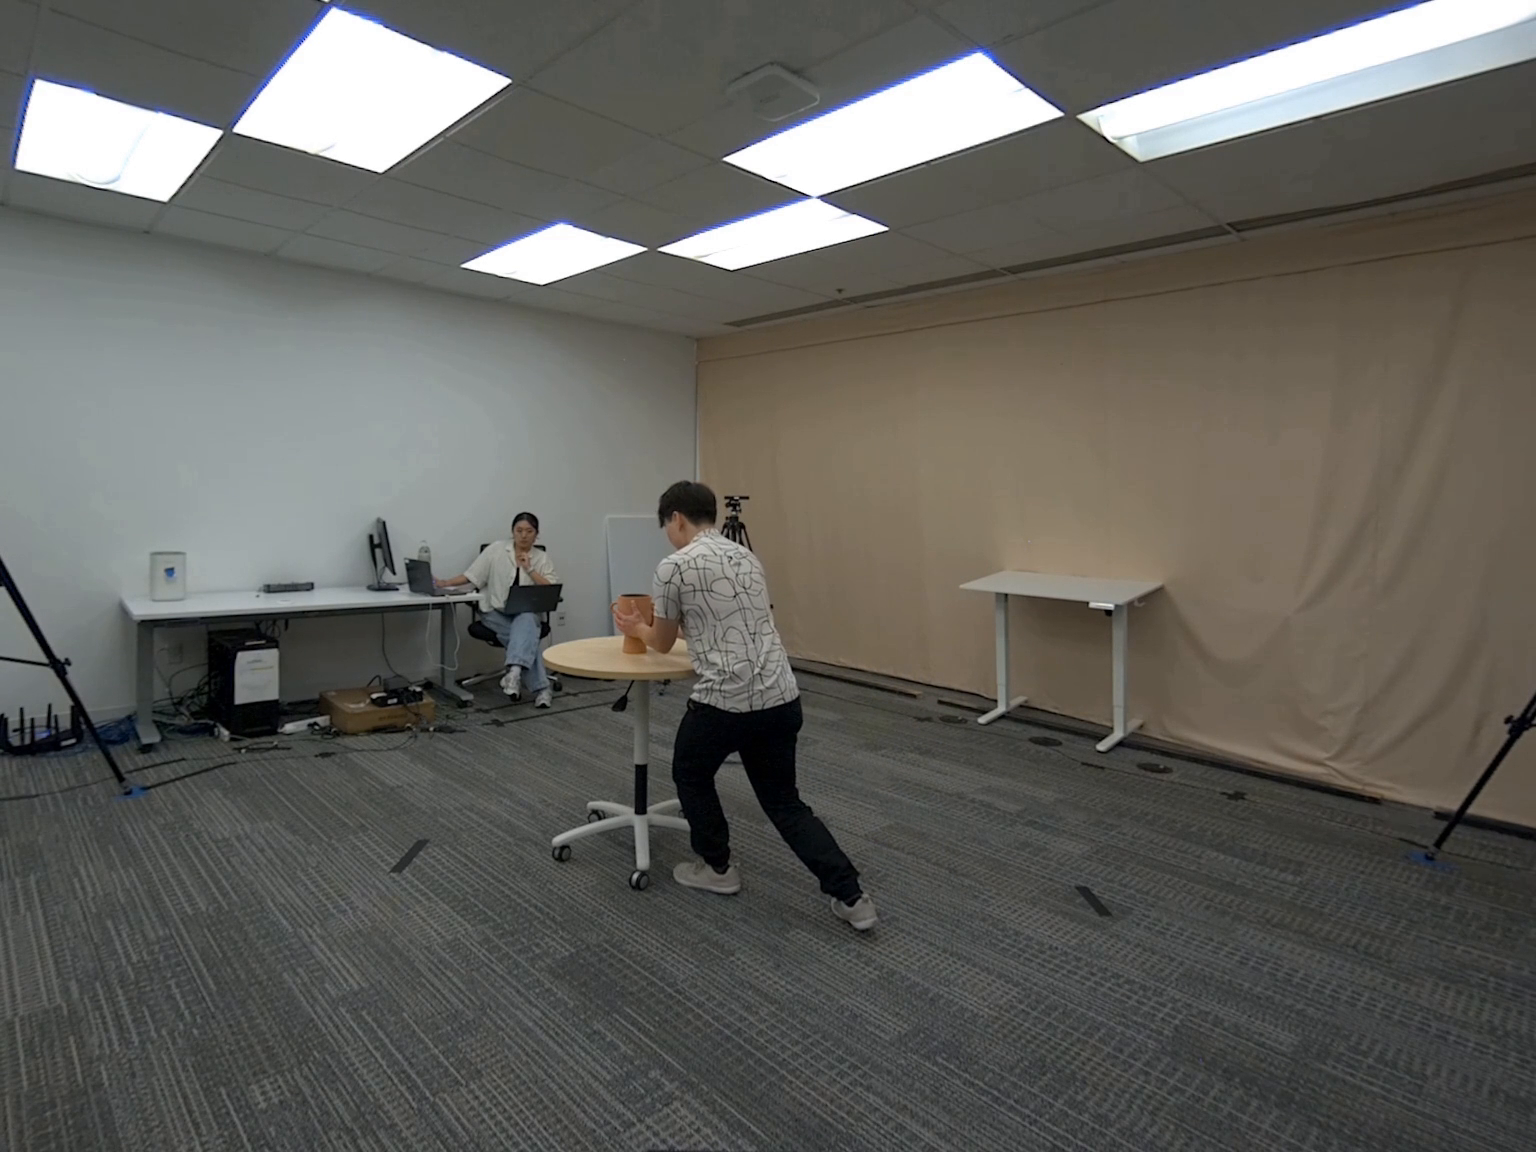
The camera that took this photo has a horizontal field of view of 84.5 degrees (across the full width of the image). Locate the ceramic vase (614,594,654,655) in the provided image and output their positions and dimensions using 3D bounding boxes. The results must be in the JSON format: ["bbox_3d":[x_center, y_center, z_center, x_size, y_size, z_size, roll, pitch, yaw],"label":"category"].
[{"bbox_3d":[-0.526,0.187,3.290,0.163,0.219,0.131,2,4,42],"label":"ceramic vase"}]
